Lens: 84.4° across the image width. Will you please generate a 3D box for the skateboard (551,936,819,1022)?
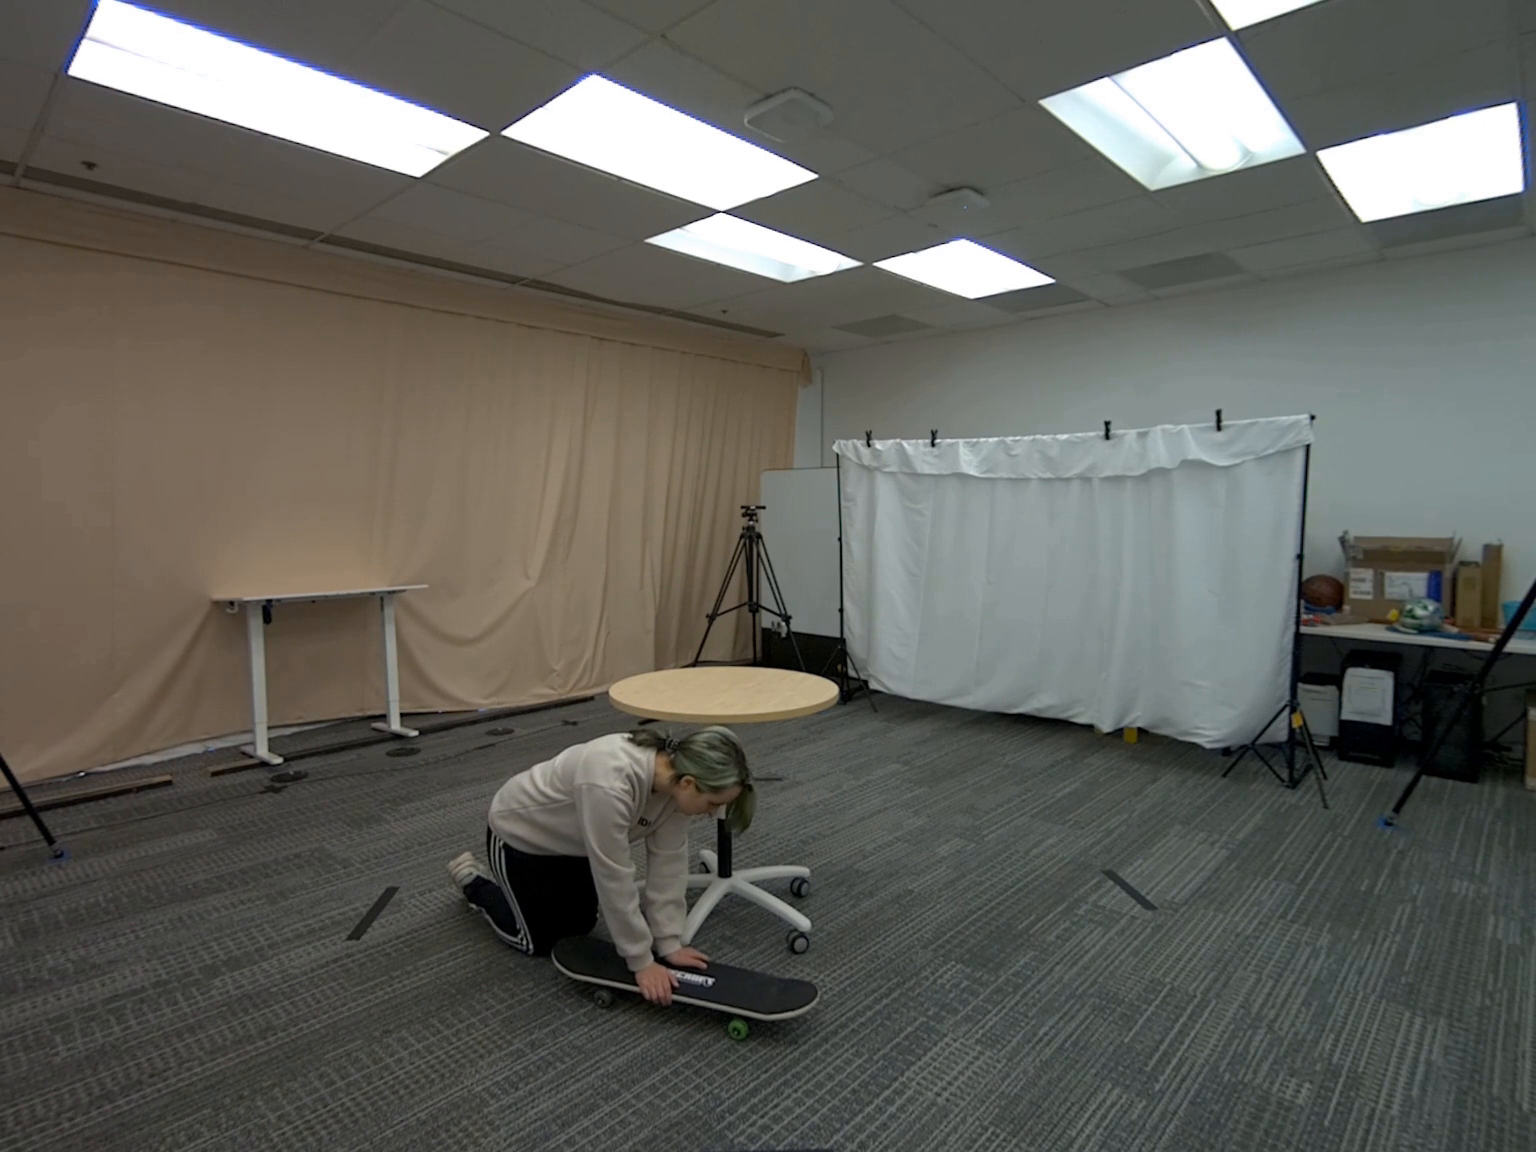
[{"bbox_3d":[-0.237,1.132,2.345,0.802,0.110,0.190,1,4,20],"label":"skateboard"}]
